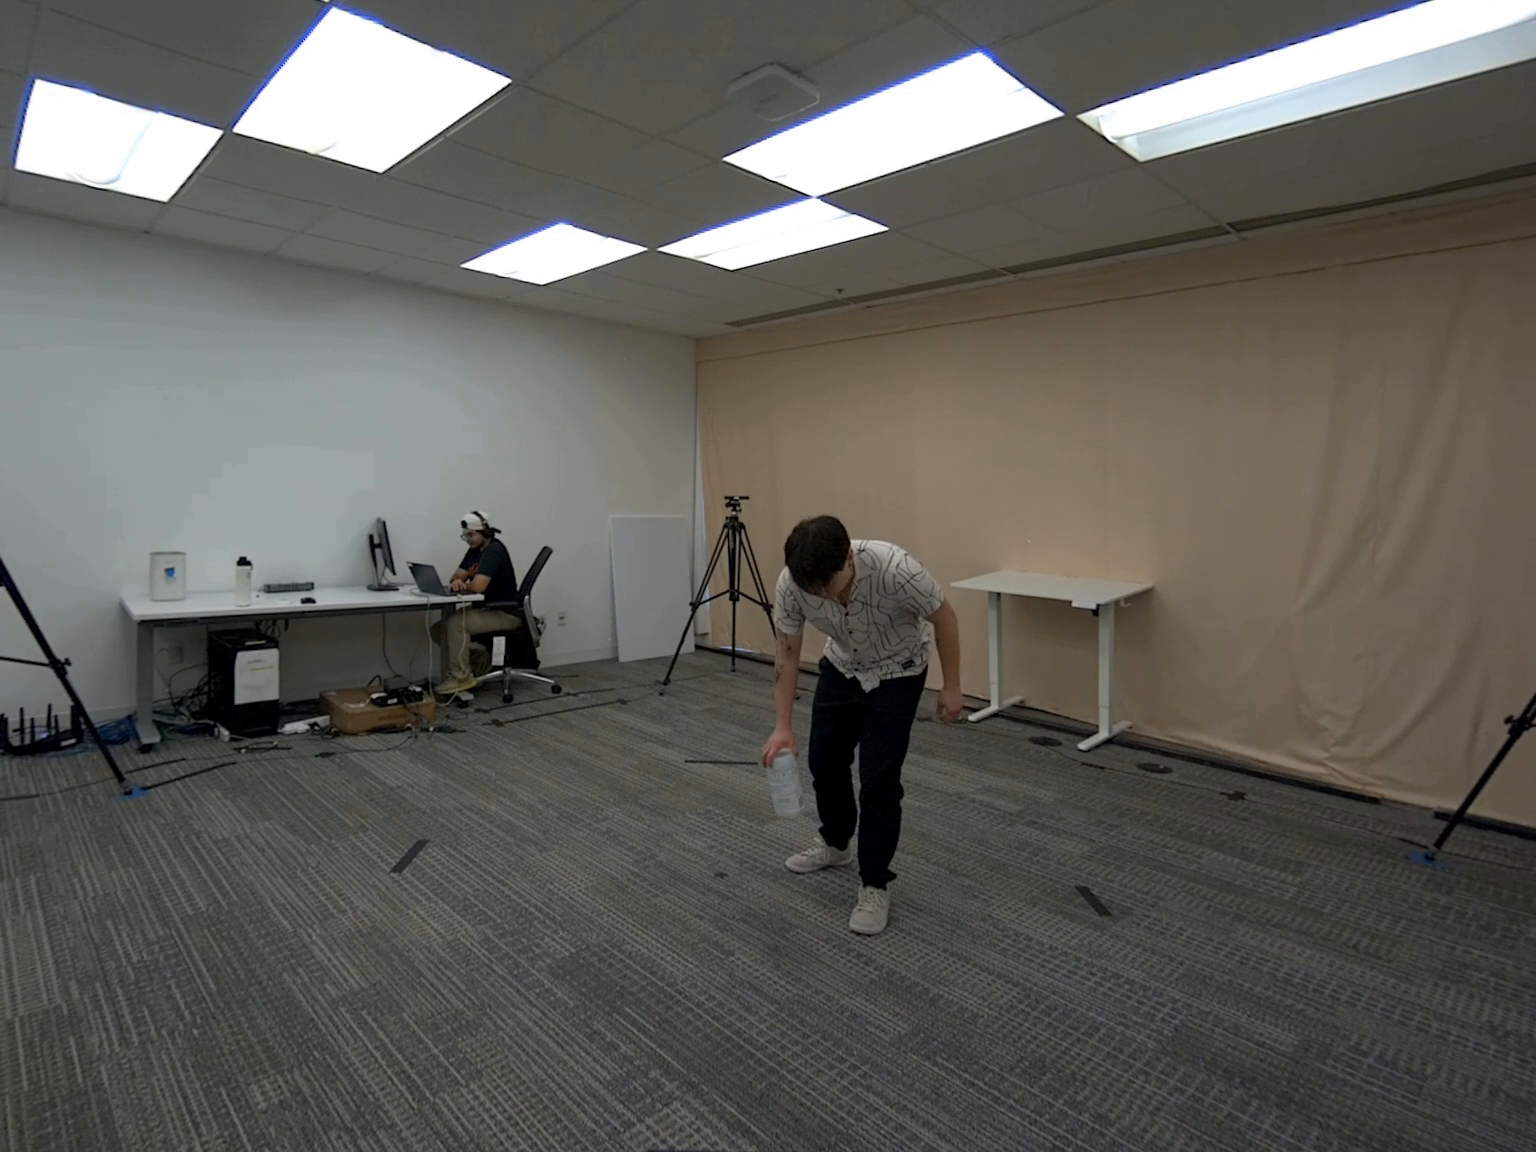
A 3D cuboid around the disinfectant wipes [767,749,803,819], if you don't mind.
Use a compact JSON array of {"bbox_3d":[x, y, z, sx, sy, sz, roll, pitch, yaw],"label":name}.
[{"bbox_3d":[0.055,0.707,2.881,0.118,0.216,0.118,-10,8,0],"label":"disinfectant wipes"}]
